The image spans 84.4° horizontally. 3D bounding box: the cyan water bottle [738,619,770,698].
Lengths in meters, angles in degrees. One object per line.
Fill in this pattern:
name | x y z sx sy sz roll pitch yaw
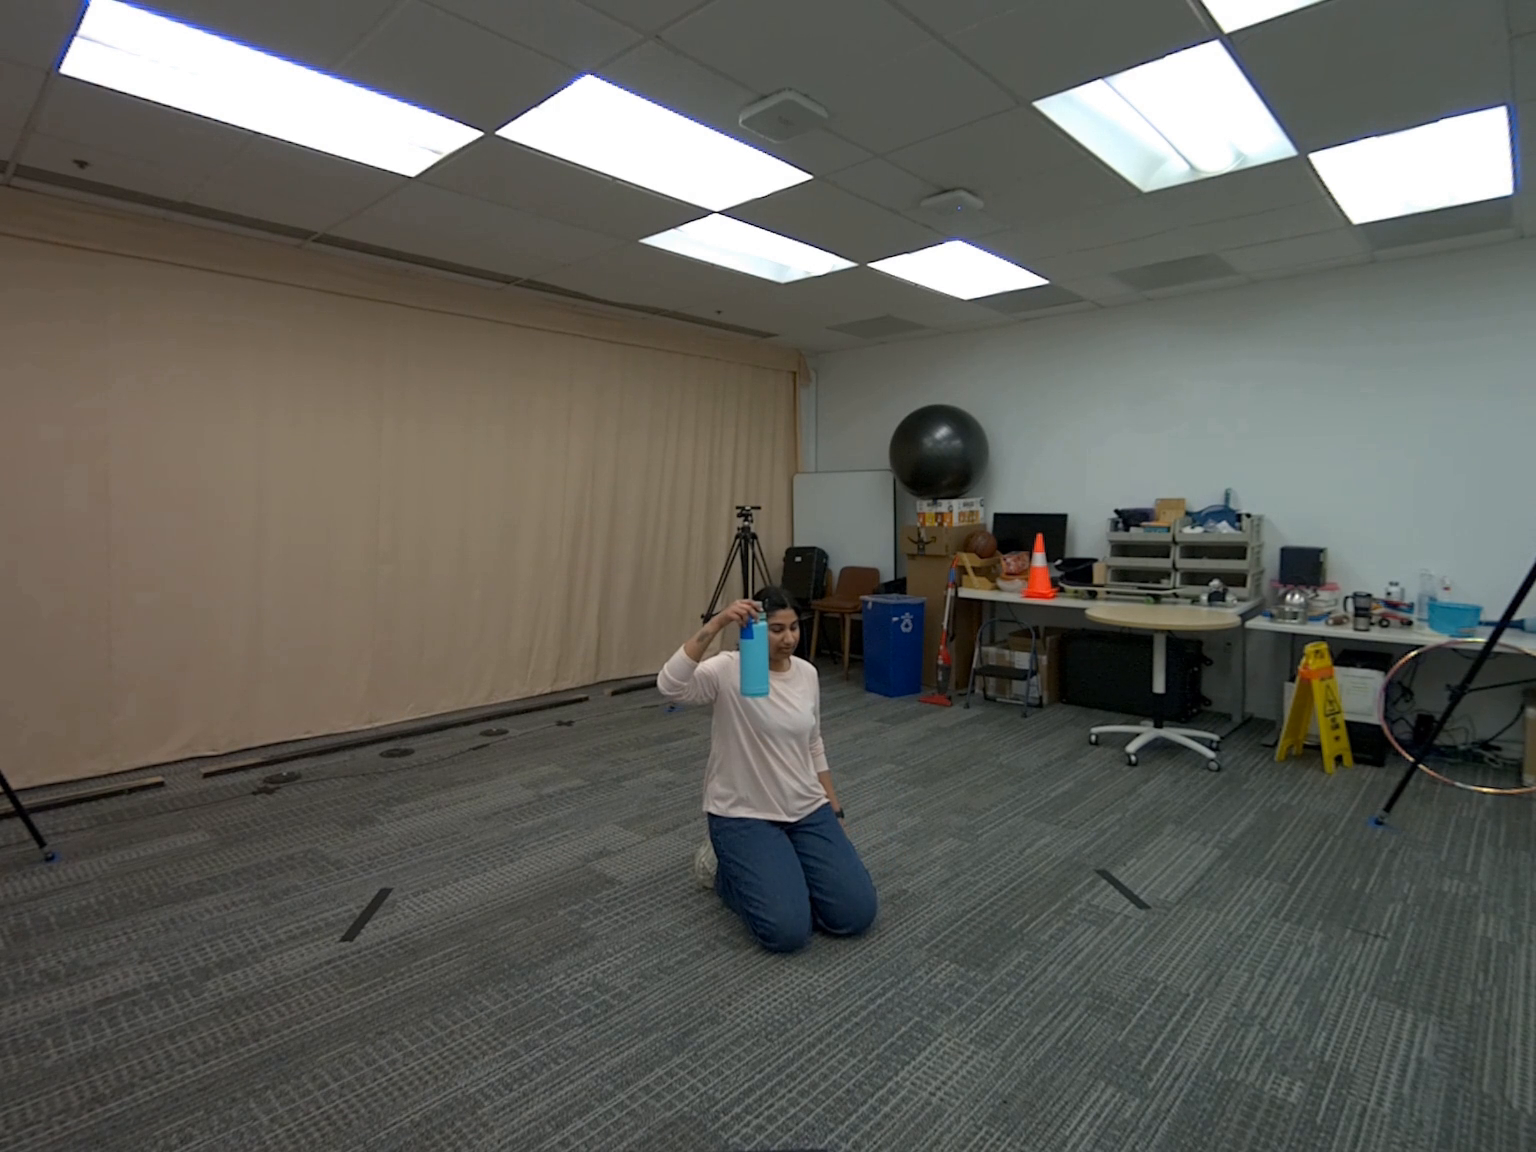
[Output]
cyan water bottle | -0.048 0.223 2.565 0.092 0.283 0.092 -2 2 -2
